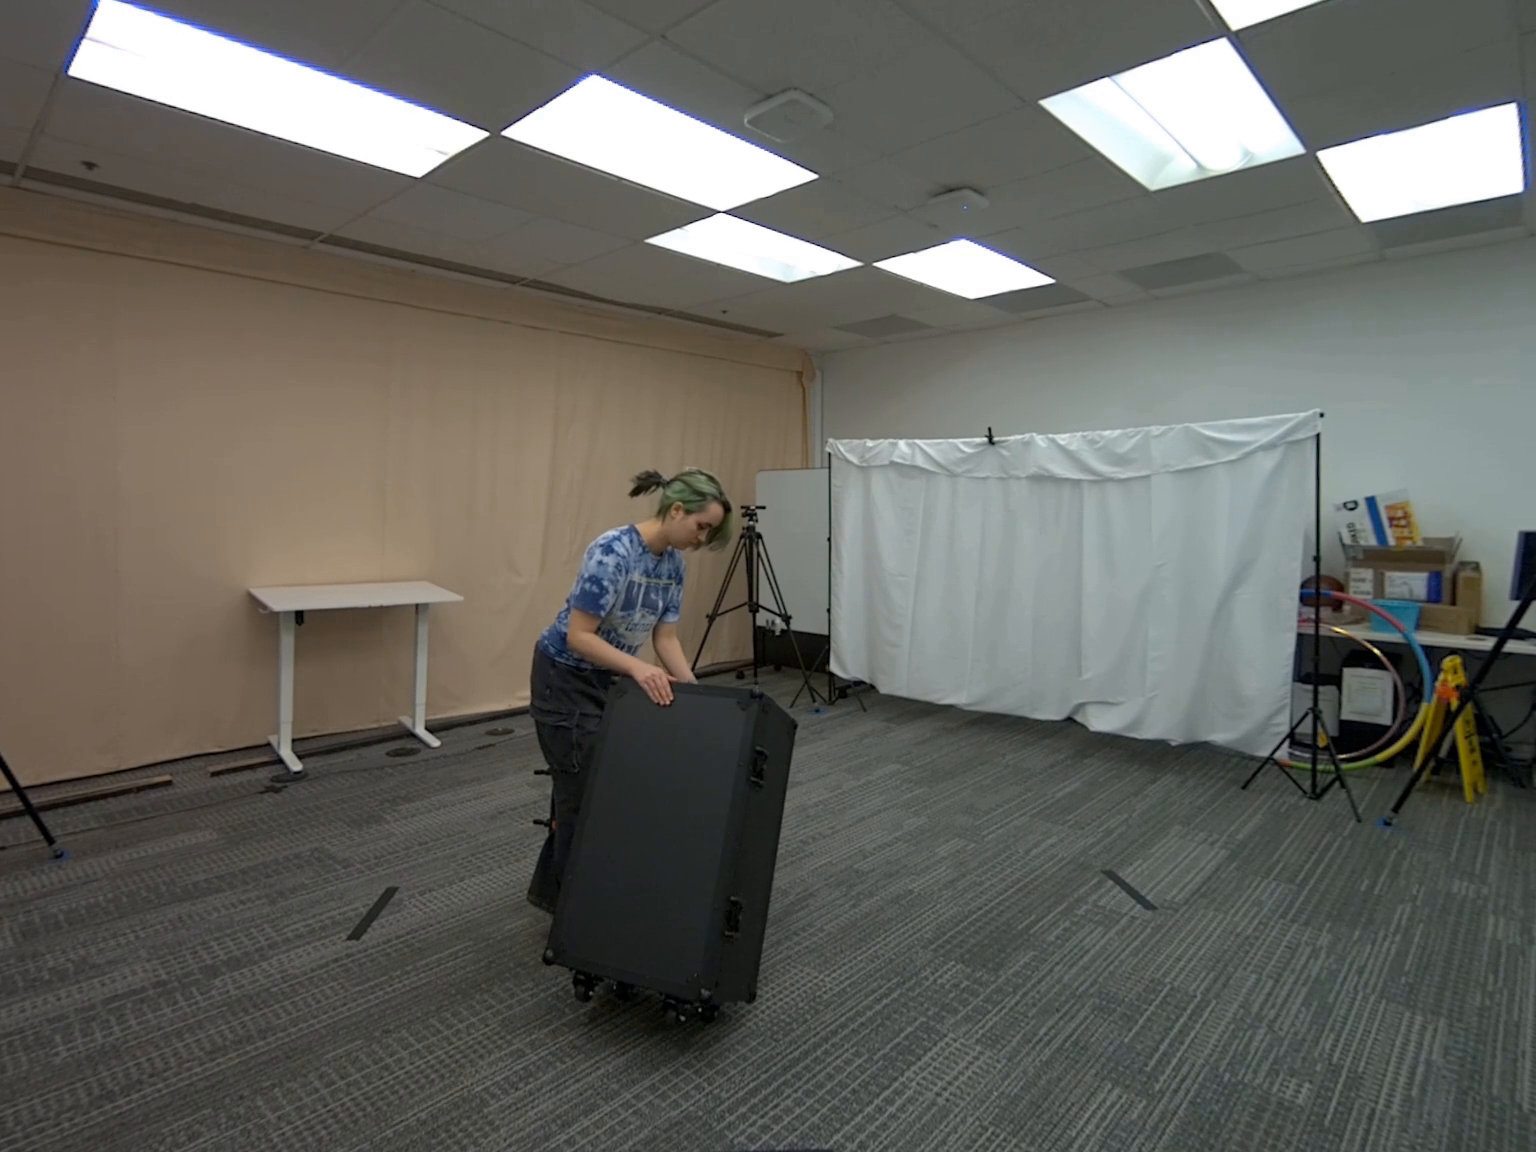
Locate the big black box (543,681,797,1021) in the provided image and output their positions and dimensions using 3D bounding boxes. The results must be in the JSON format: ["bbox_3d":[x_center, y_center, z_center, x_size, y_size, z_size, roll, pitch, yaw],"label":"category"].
[{"bbox_3d":[-0.252,0.769,2.395,0.534,0.869,0.384,1,-24,23],"label":"big black box"}]
